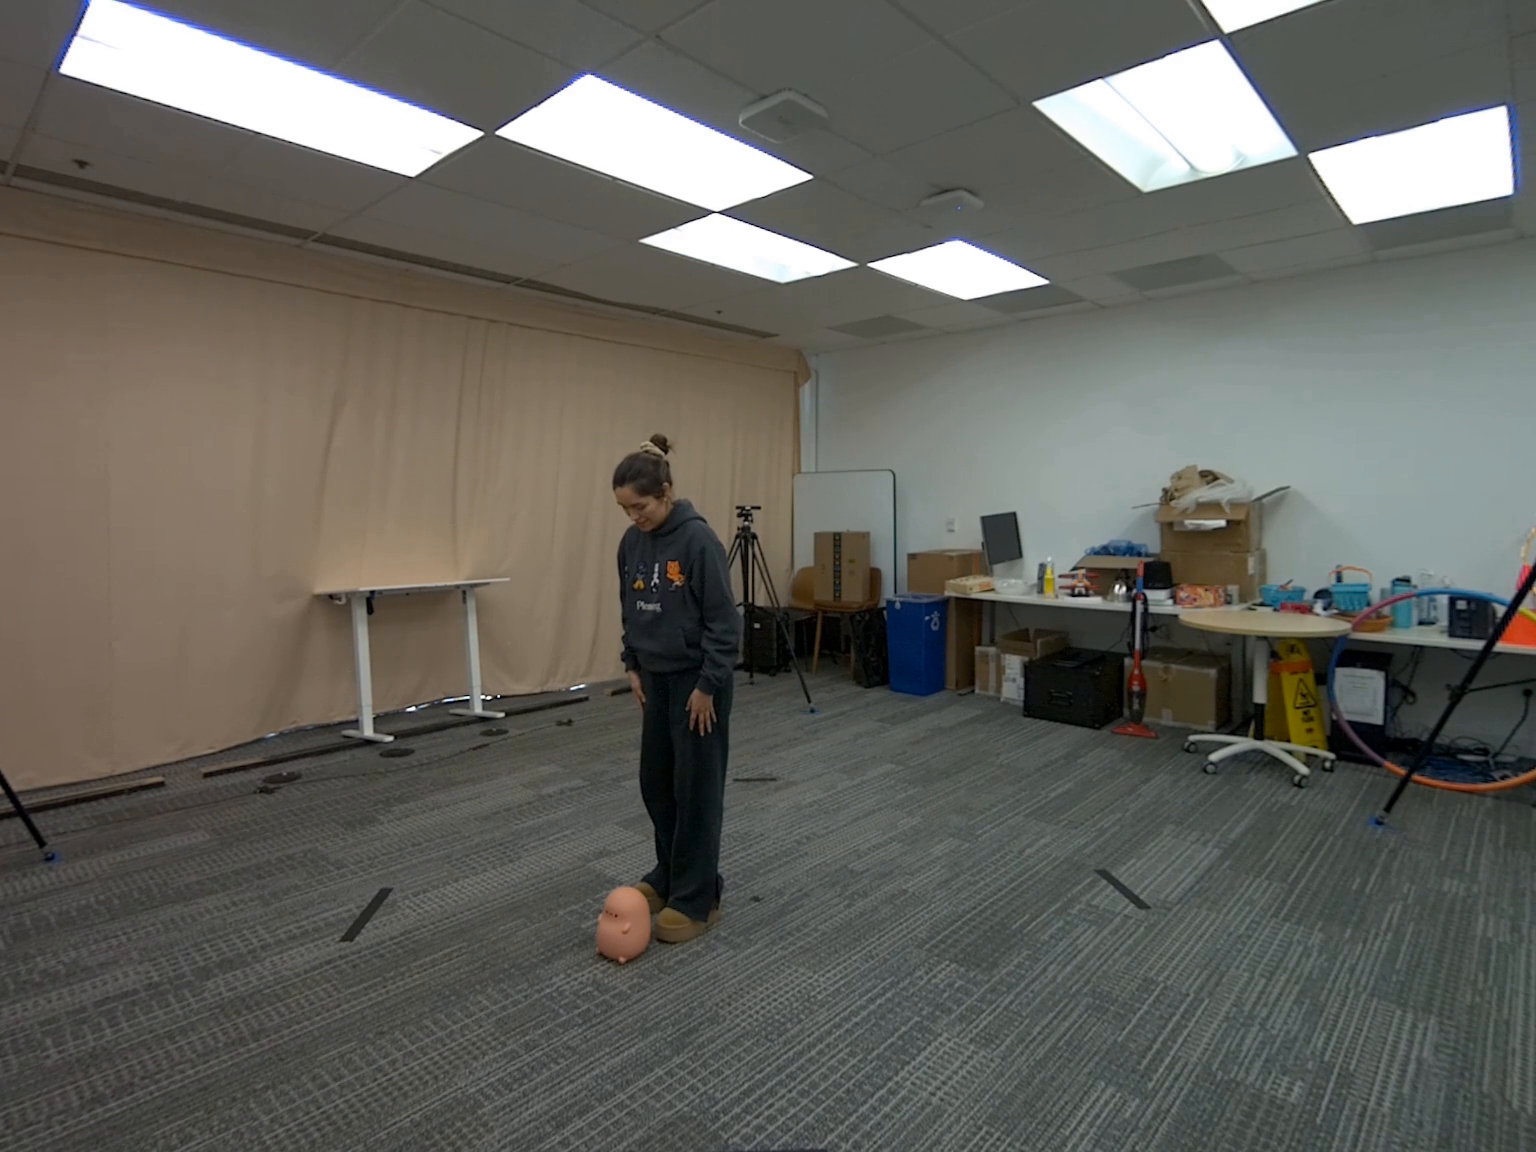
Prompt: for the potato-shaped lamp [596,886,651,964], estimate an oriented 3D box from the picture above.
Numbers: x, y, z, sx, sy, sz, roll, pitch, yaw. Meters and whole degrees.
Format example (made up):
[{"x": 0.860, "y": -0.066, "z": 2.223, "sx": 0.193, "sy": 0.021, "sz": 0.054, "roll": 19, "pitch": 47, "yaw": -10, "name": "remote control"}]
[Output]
[{"x": -0.433, "y": 1.079, "z": 2.632, "sx": 0.170, "sy": 0.197, "sz": 0.166, "roll": 4, "pitch": 6, "yaw": 35, "name": "potato-shaped lamp"}]
